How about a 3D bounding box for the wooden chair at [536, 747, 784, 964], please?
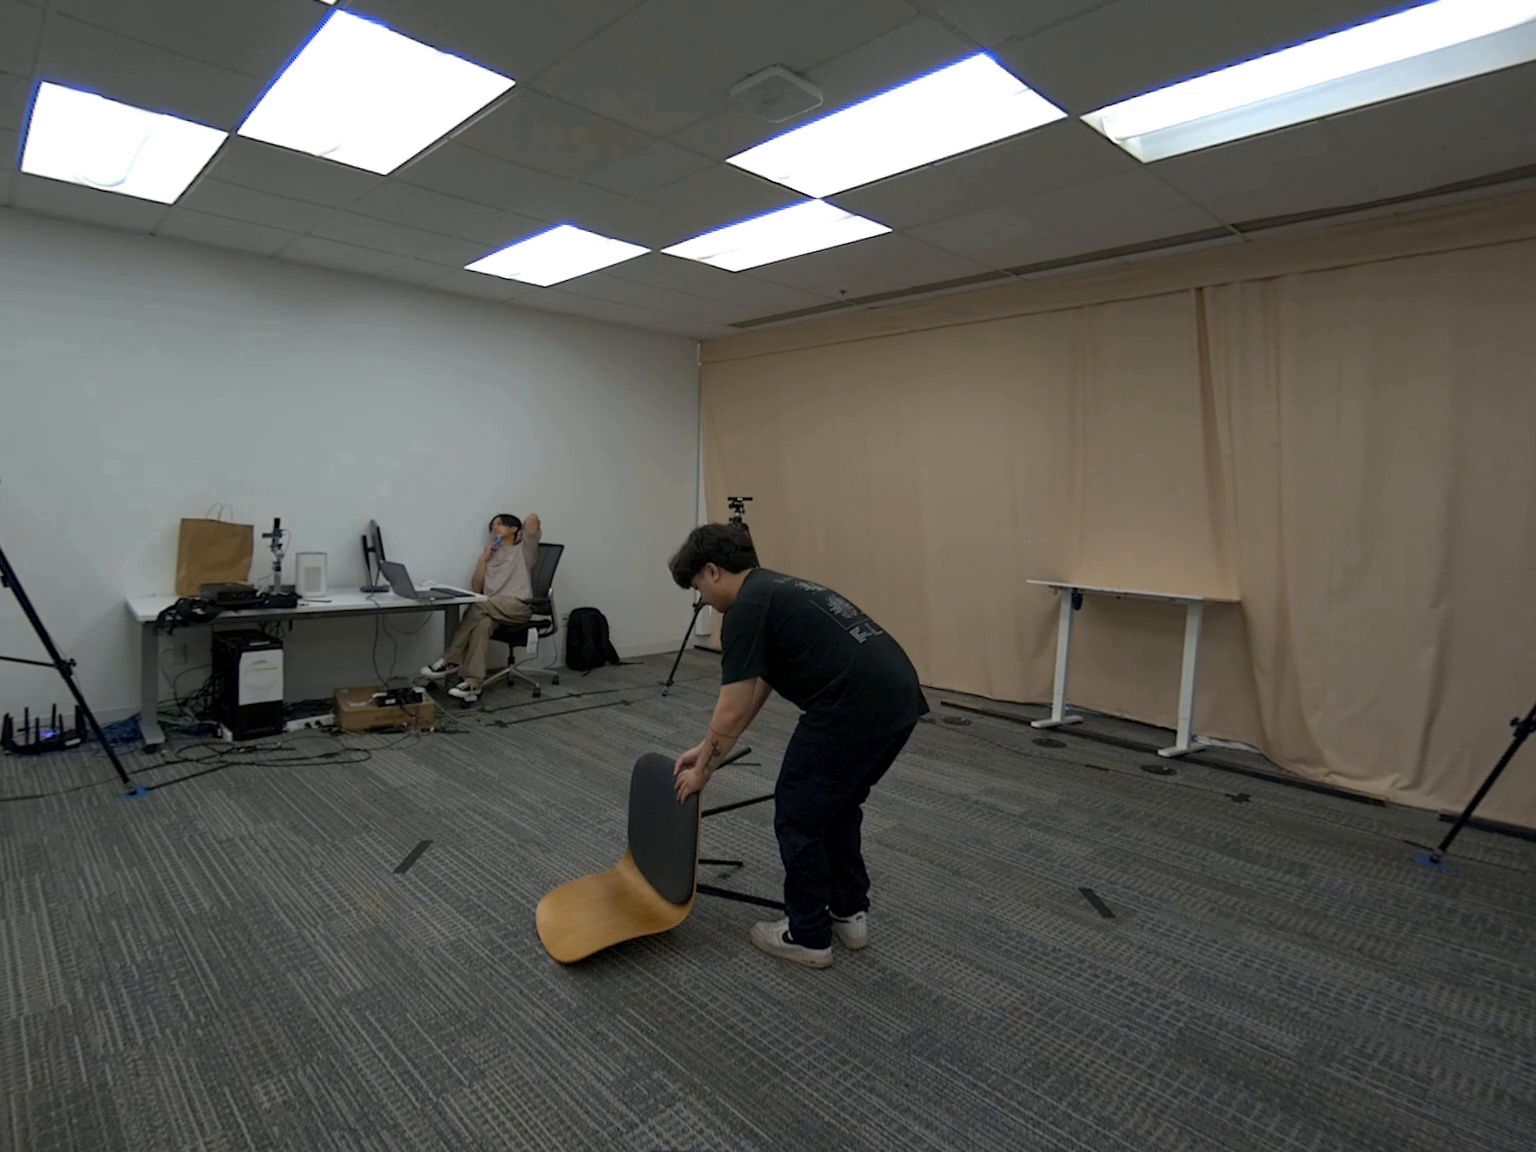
[{"bbox_3d":[-0.317,0.877,2.784,0.859,0.521,0.489,-2,6,-32],"label":"wooden chair"}]
